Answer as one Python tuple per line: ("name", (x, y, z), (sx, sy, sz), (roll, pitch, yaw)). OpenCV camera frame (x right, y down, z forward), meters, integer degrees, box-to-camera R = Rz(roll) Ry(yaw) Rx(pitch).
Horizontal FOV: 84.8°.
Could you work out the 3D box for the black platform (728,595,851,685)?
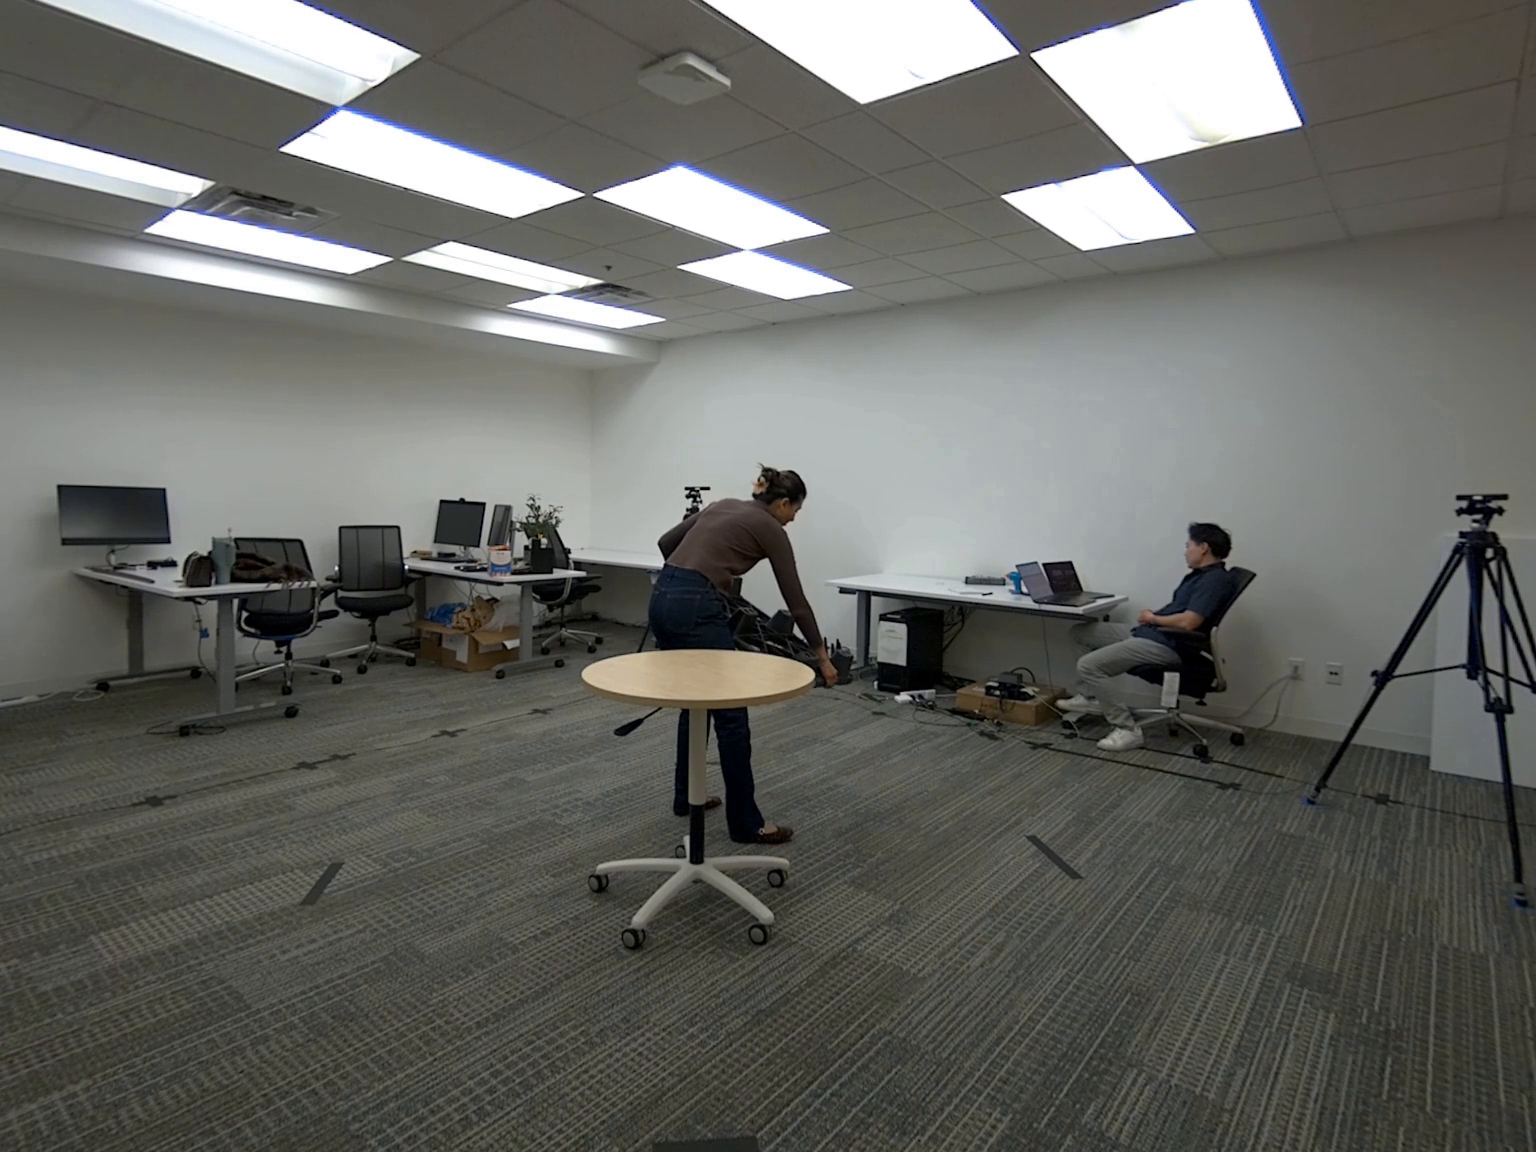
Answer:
("black platform", (-0.039, 0.215, 3.831), (0.834, 0.143, 0.586), (31, 11, 27))
